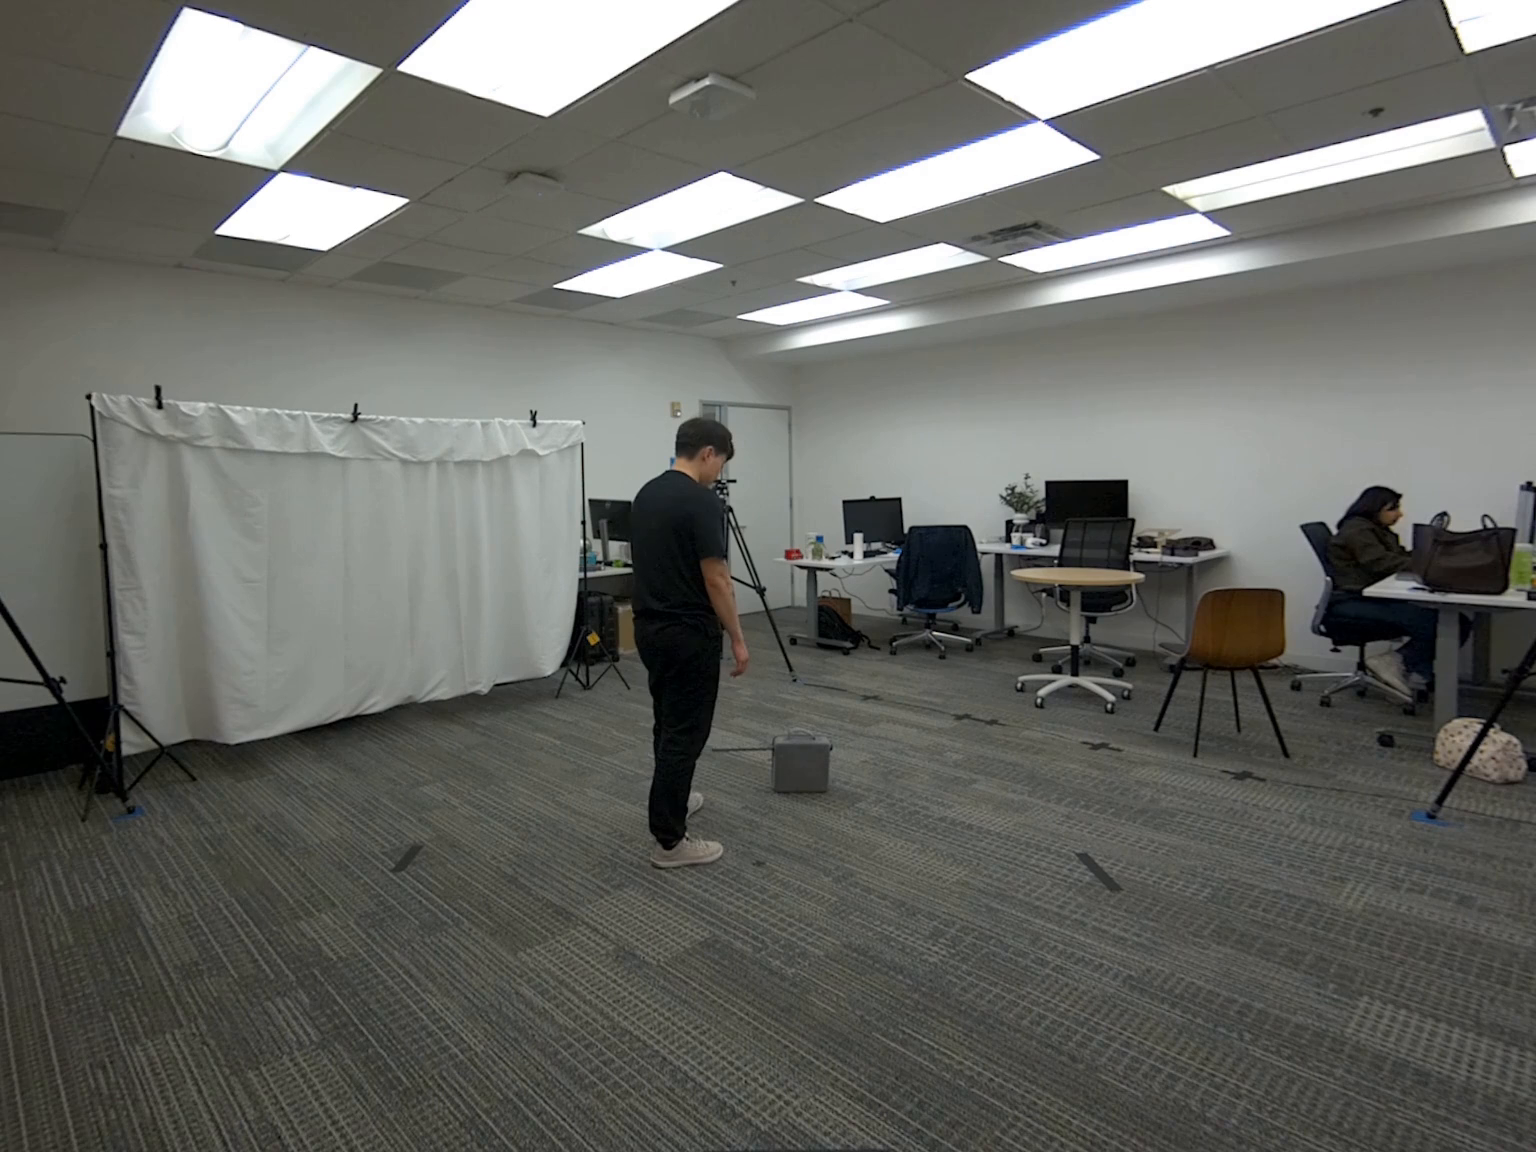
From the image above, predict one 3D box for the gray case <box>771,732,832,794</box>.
[{"bbox_3d":[0.154,0.829,3.821,0.257,0.257,0.105,-1,12,0],"label":"gray case"}]
